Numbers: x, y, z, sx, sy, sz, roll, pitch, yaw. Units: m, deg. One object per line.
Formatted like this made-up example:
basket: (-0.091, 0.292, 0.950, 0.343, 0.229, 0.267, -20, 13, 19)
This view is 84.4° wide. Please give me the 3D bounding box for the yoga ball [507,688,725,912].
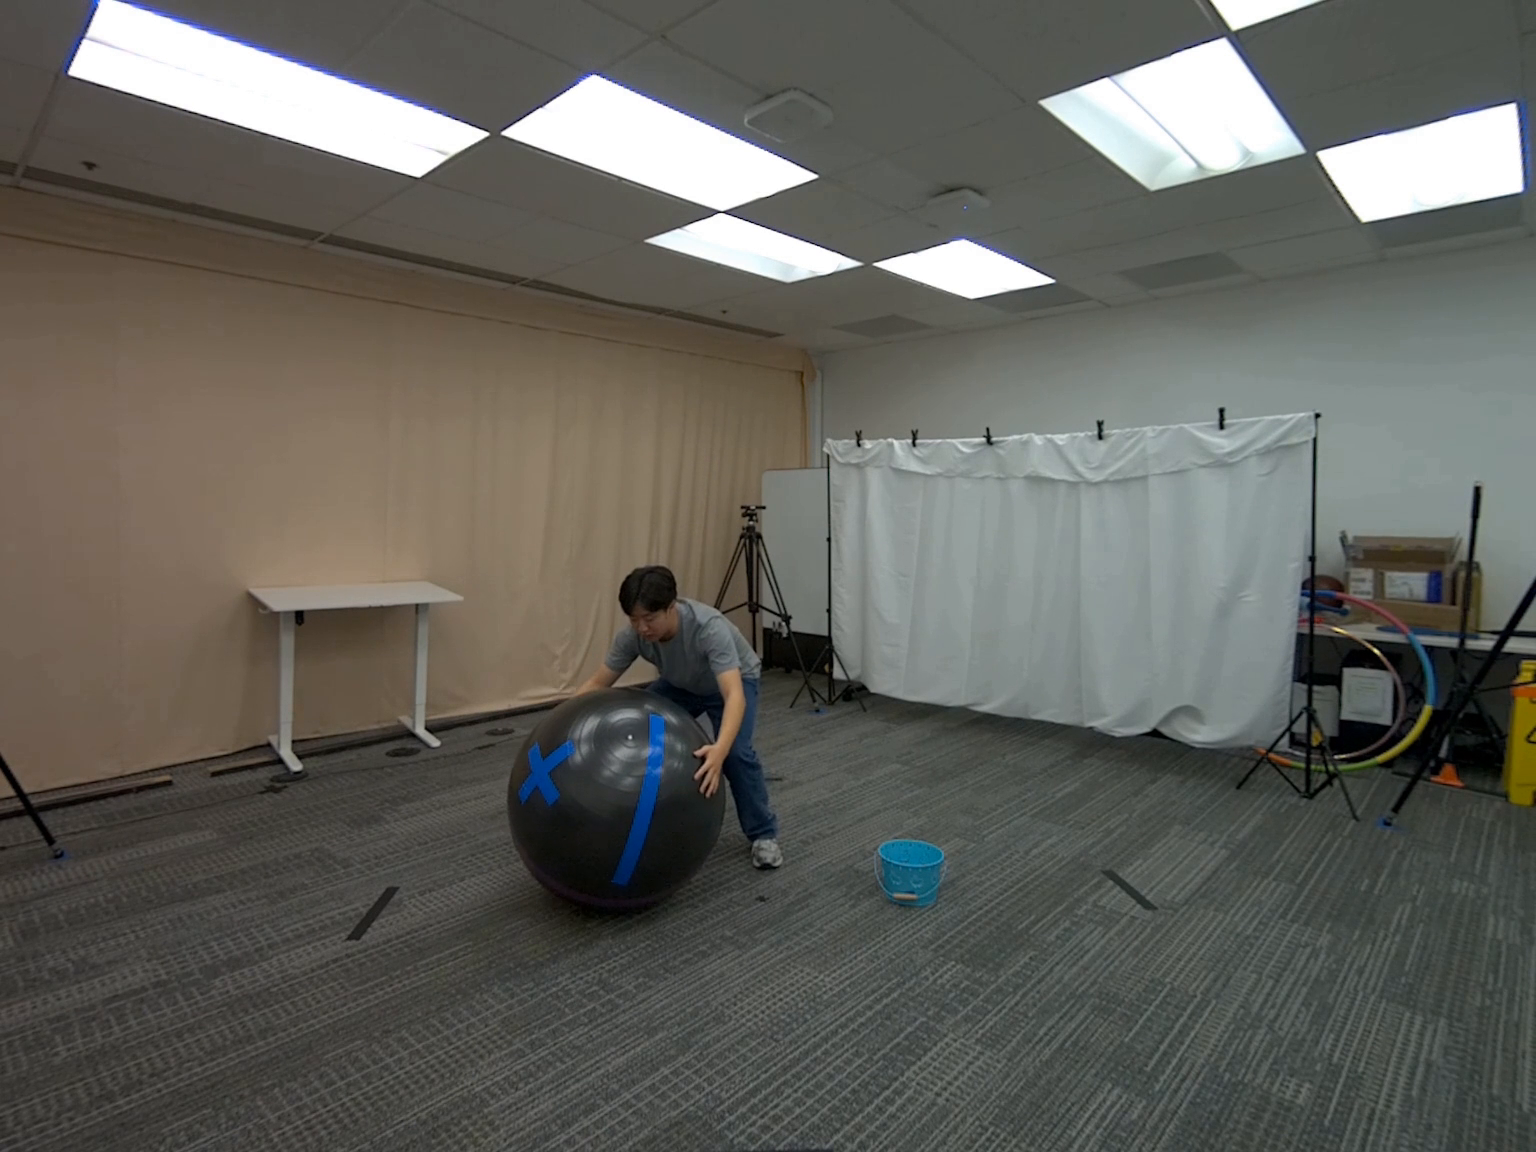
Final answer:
yoga ball: (-0.538, 0.769, 2.964, 0.757, 0.756, 0.760, 0, 4, -2)
